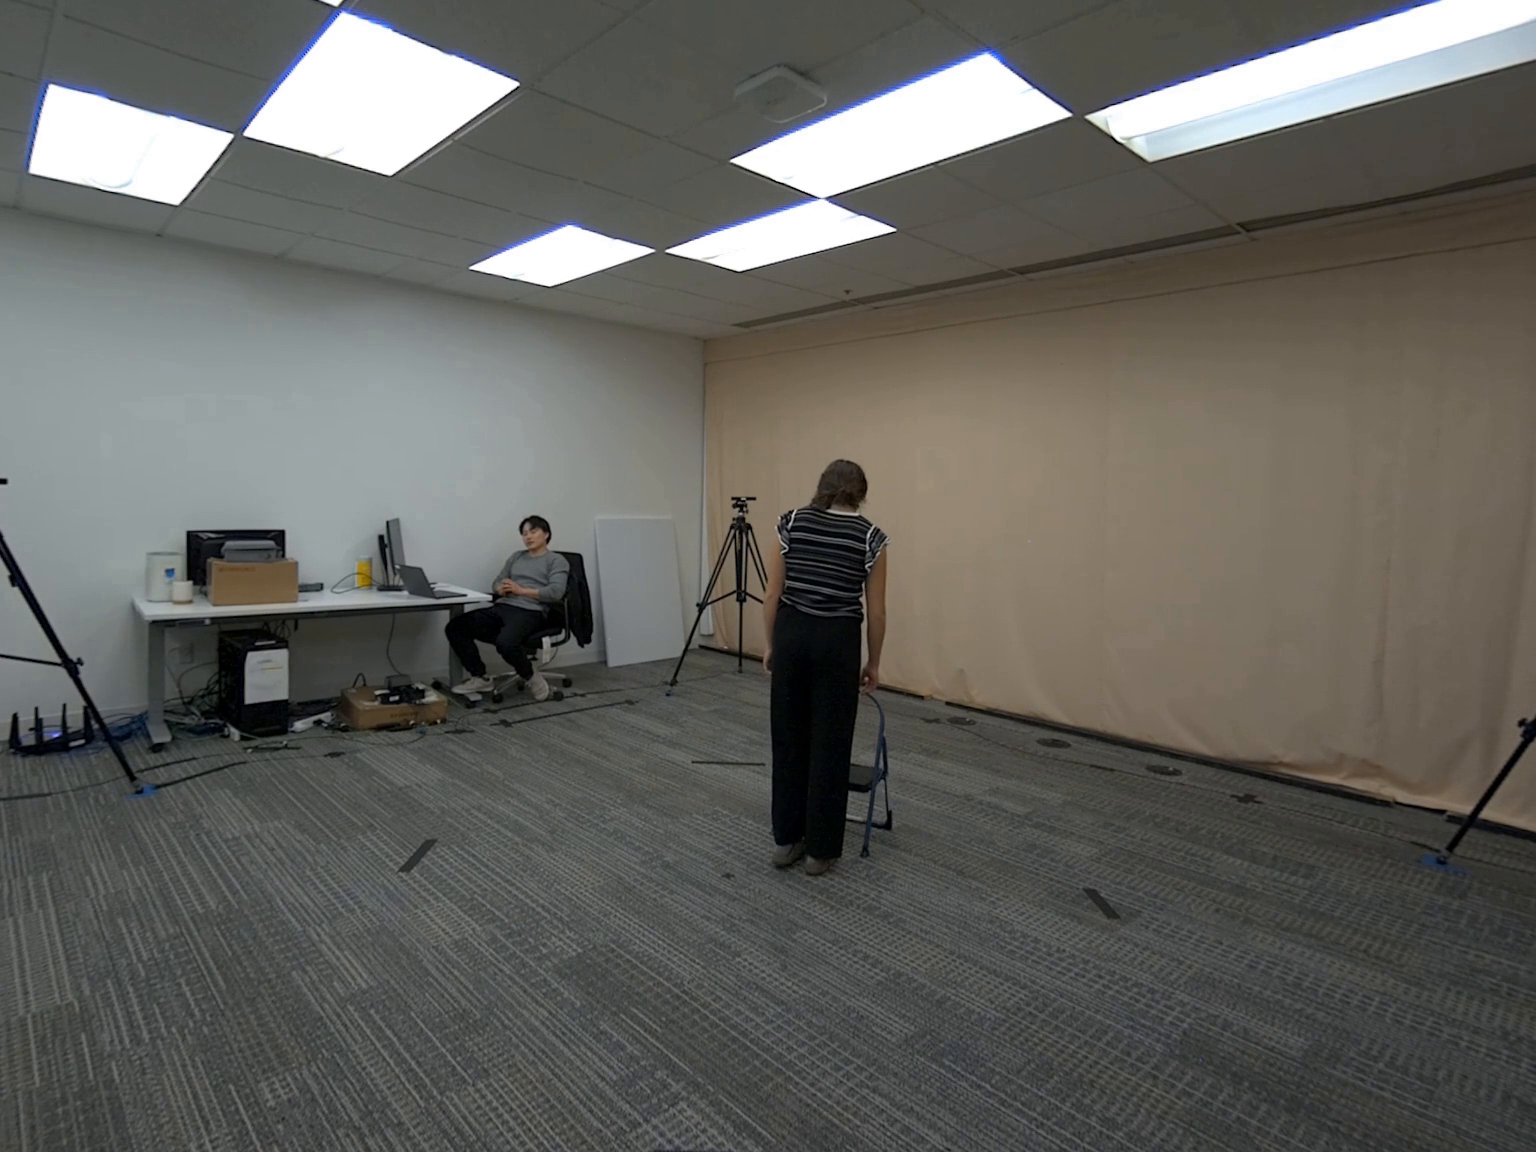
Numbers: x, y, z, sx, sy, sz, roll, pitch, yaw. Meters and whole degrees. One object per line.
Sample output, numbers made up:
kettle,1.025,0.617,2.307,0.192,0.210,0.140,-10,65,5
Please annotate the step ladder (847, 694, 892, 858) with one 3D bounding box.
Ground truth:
step ladder,0.278,0.781,3.537,0.439,0.605,0.343,3,3,28
